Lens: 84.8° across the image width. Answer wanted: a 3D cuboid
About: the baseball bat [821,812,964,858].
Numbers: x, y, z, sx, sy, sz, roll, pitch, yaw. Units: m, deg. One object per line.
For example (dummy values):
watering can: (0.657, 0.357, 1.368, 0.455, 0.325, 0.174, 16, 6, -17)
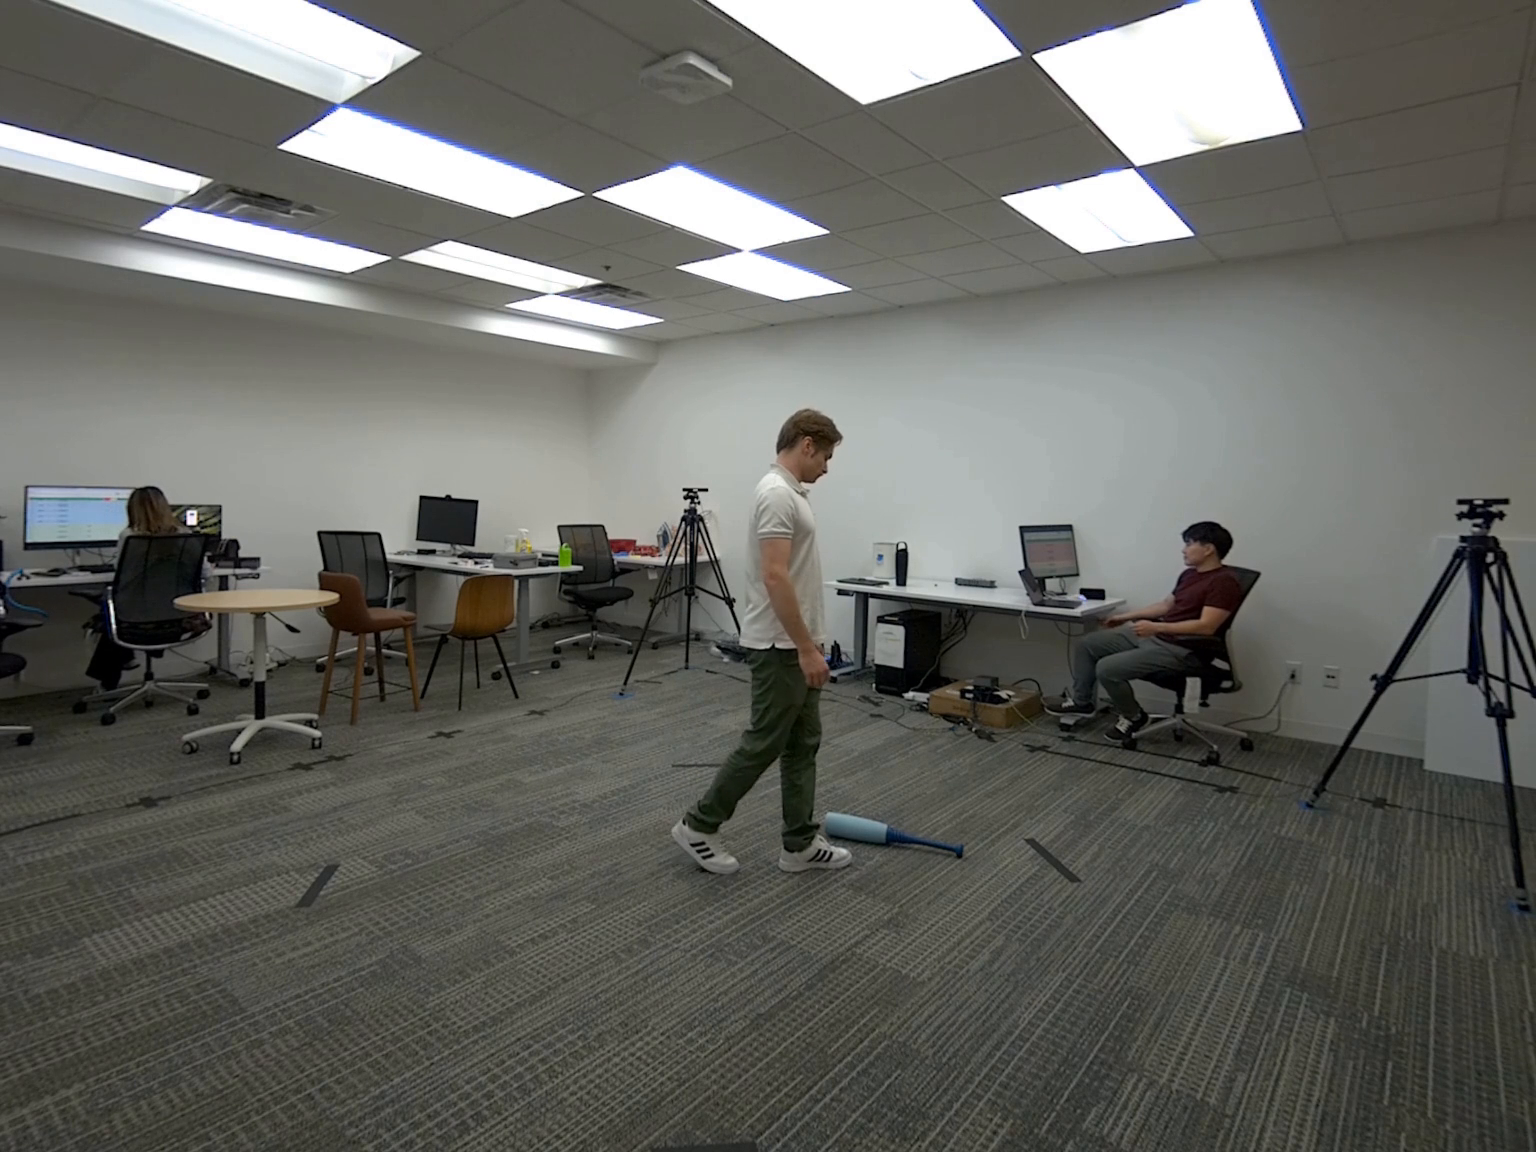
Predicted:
baseball bat: (0.488, 1.027, 3.364, 0.554, 0.089, 0.087, 7, 5, 18)
